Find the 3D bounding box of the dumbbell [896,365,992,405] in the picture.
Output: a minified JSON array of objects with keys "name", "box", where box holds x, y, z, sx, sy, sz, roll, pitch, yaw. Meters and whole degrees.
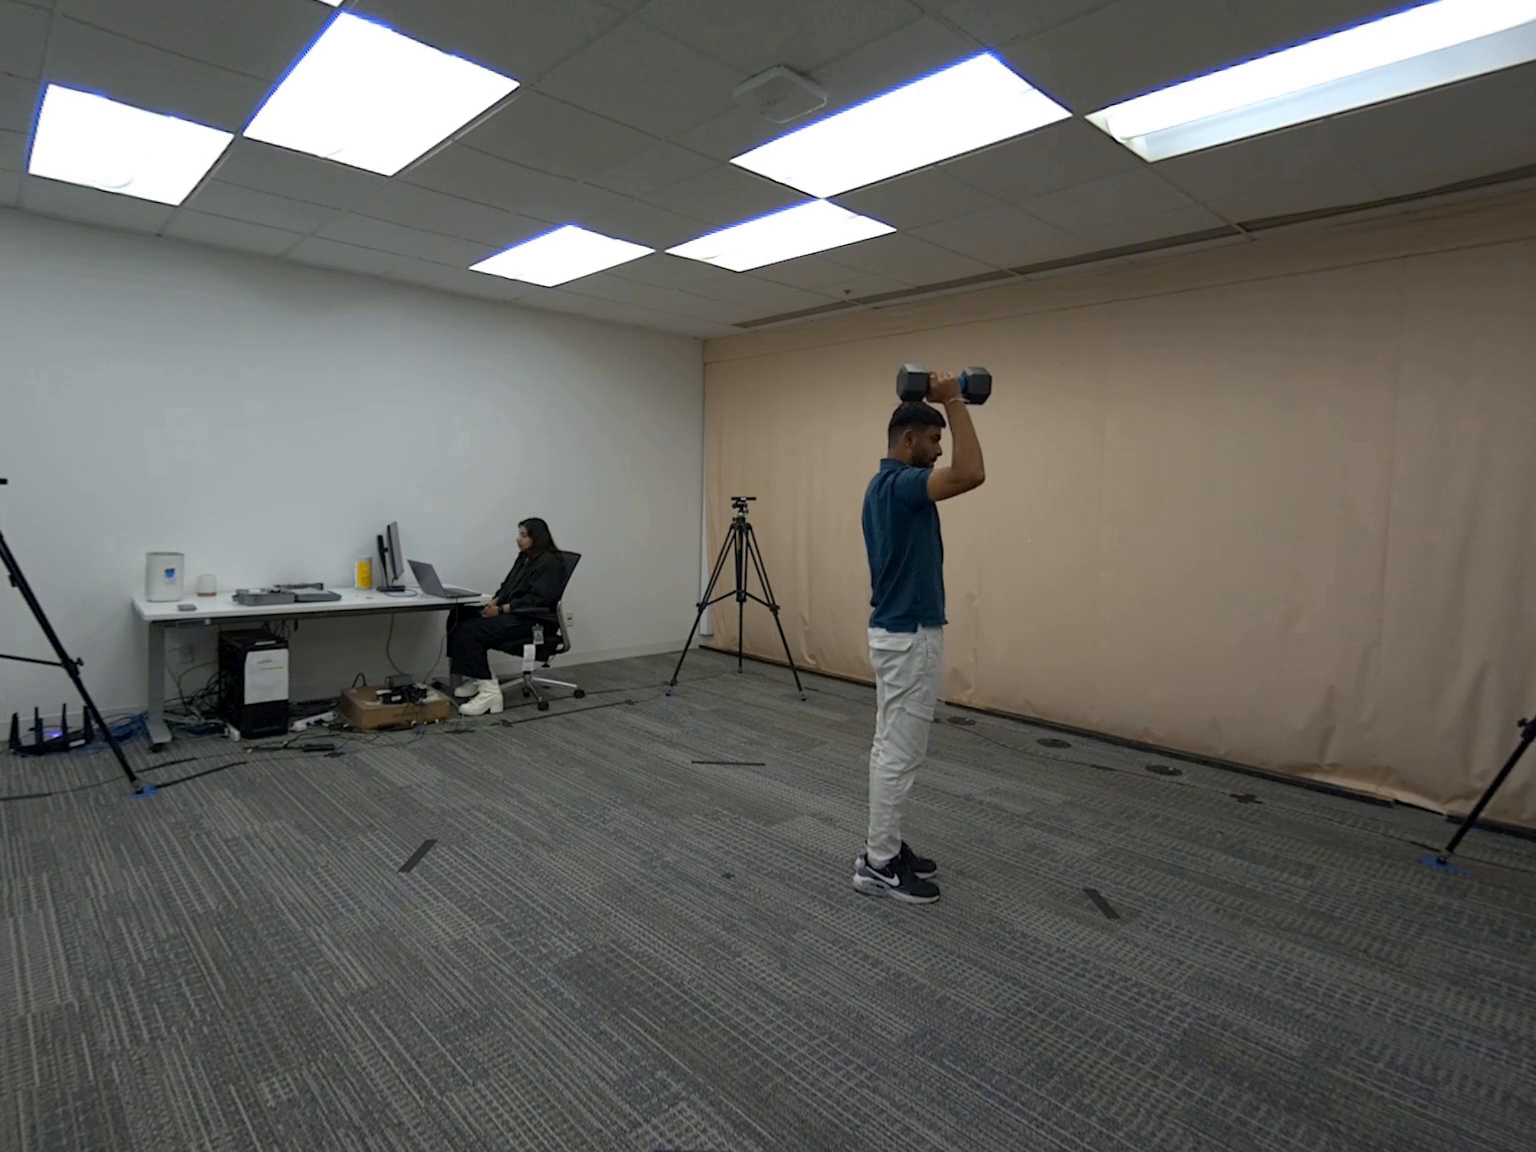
[{"name":"dumbbell","box":[0.568,-0.626,2.742,0.292,0.110,0.121,1,-23,-7]}]
